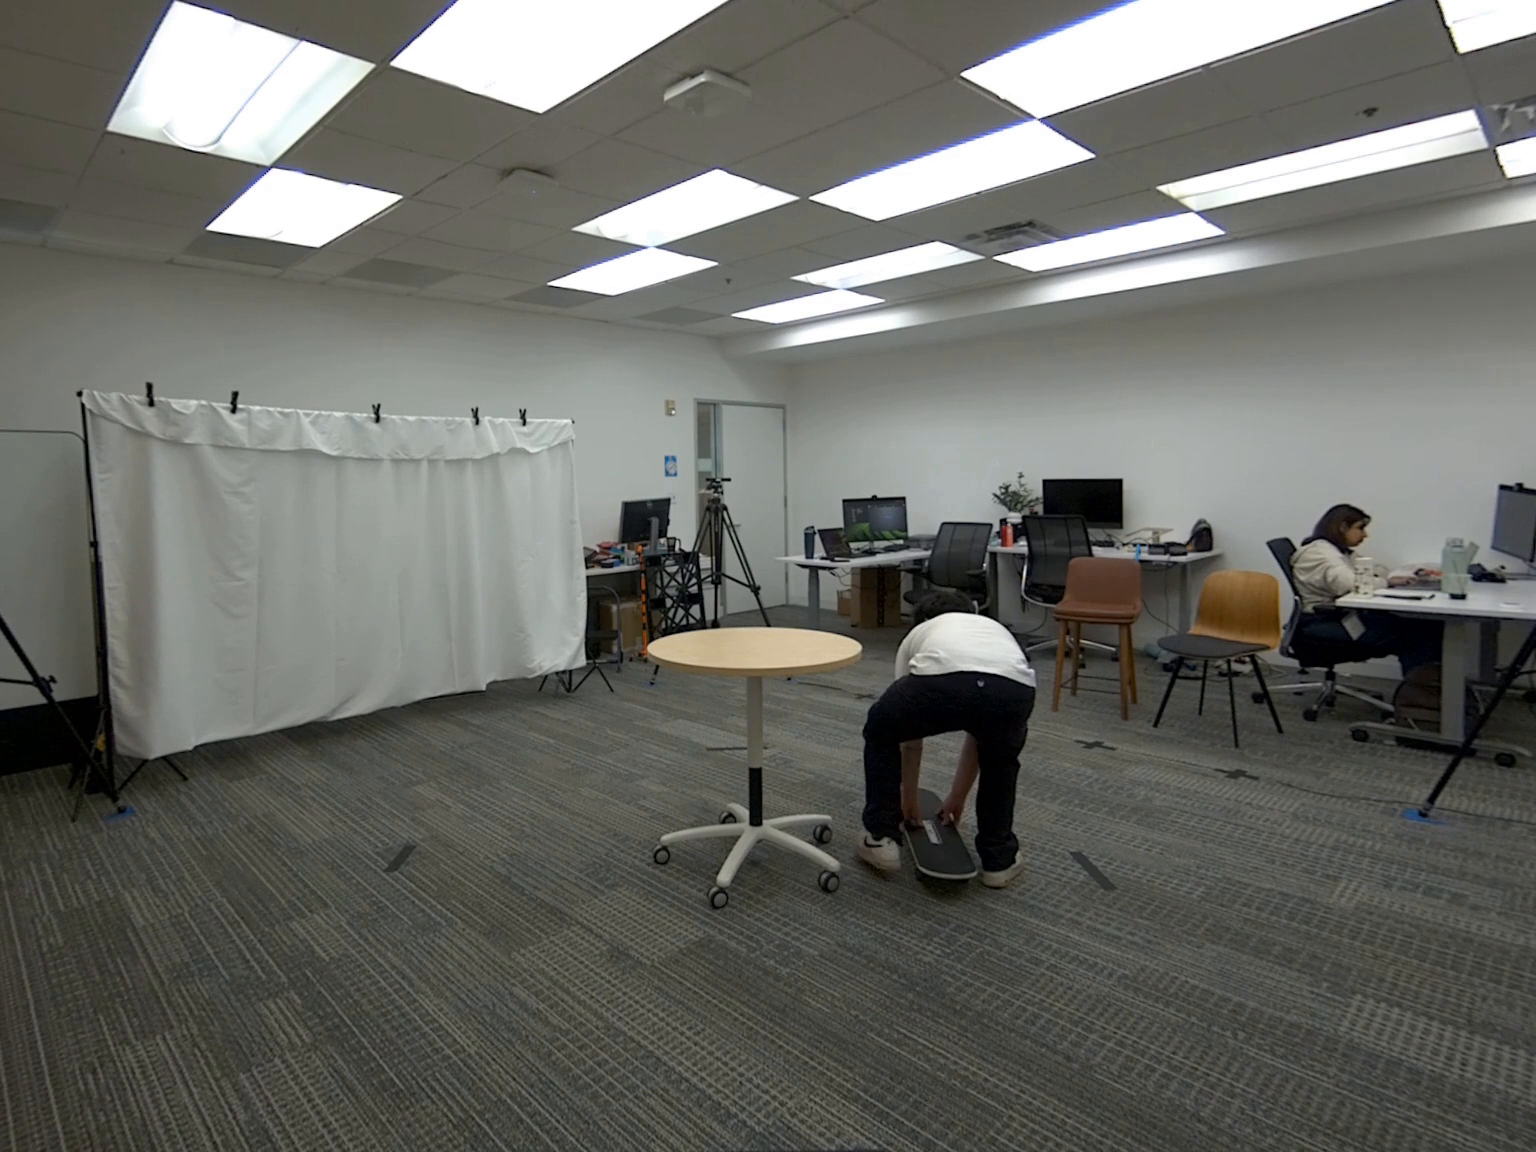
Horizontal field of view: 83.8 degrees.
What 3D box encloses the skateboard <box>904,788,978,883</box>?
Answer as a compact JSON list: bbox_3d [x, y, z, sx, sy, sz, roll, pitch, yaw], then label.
[{"bbox_3d":[0.605,0.969,3.143,0.194,0.110,0.787,-1,6,0],"label":"skateboard"}]
